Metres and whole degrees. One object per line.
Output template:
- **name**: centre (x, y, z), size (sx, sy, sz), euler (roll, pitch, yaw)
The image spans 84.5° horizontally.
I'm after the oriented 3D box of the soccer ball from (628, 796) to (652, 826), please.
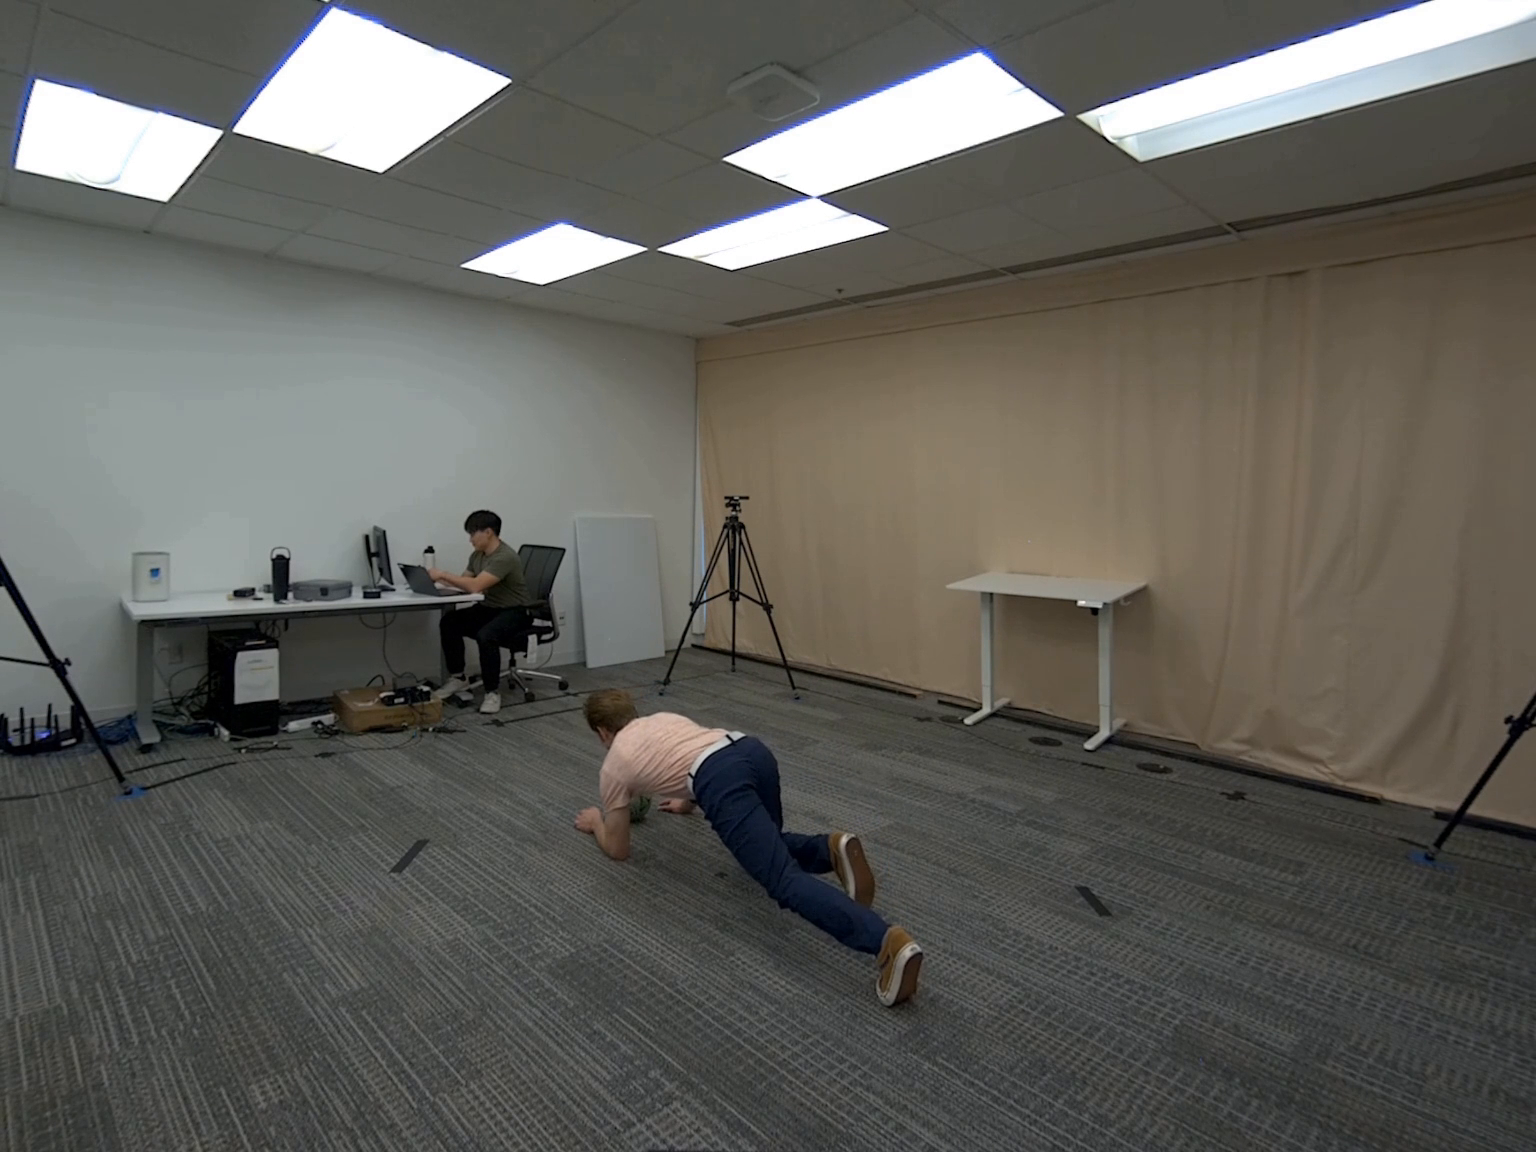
- **soccer ball**: centre (-0.593, 0.957, 3.613), size (0.187, 0.187, 0.188), euler (1, 4, -1)
